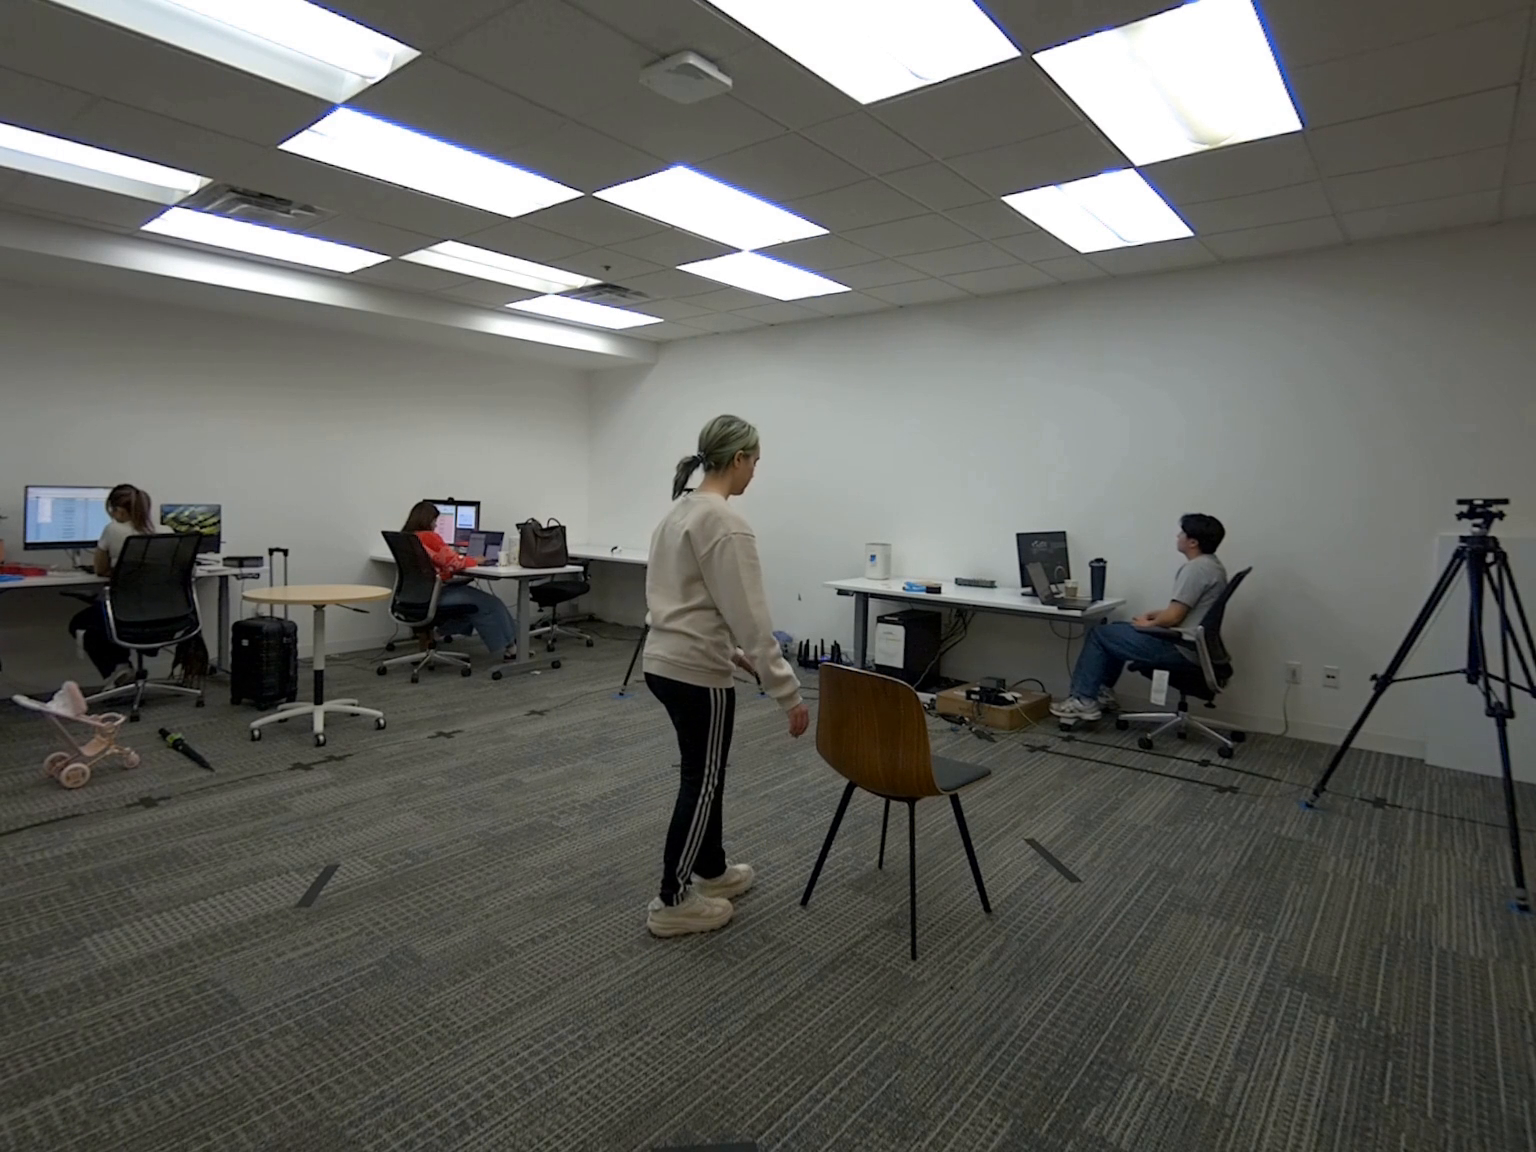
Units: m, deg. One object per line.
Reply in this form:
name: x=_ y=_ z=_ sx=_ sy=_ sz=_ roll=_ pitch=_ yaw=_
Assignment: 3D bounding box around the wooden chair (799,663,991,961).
wooden chair: x=0.439 y=0.688 z=2.820 sx=0.494 sy=0.872 sz=0.509 roll=5 pitch=9 yaw=44
